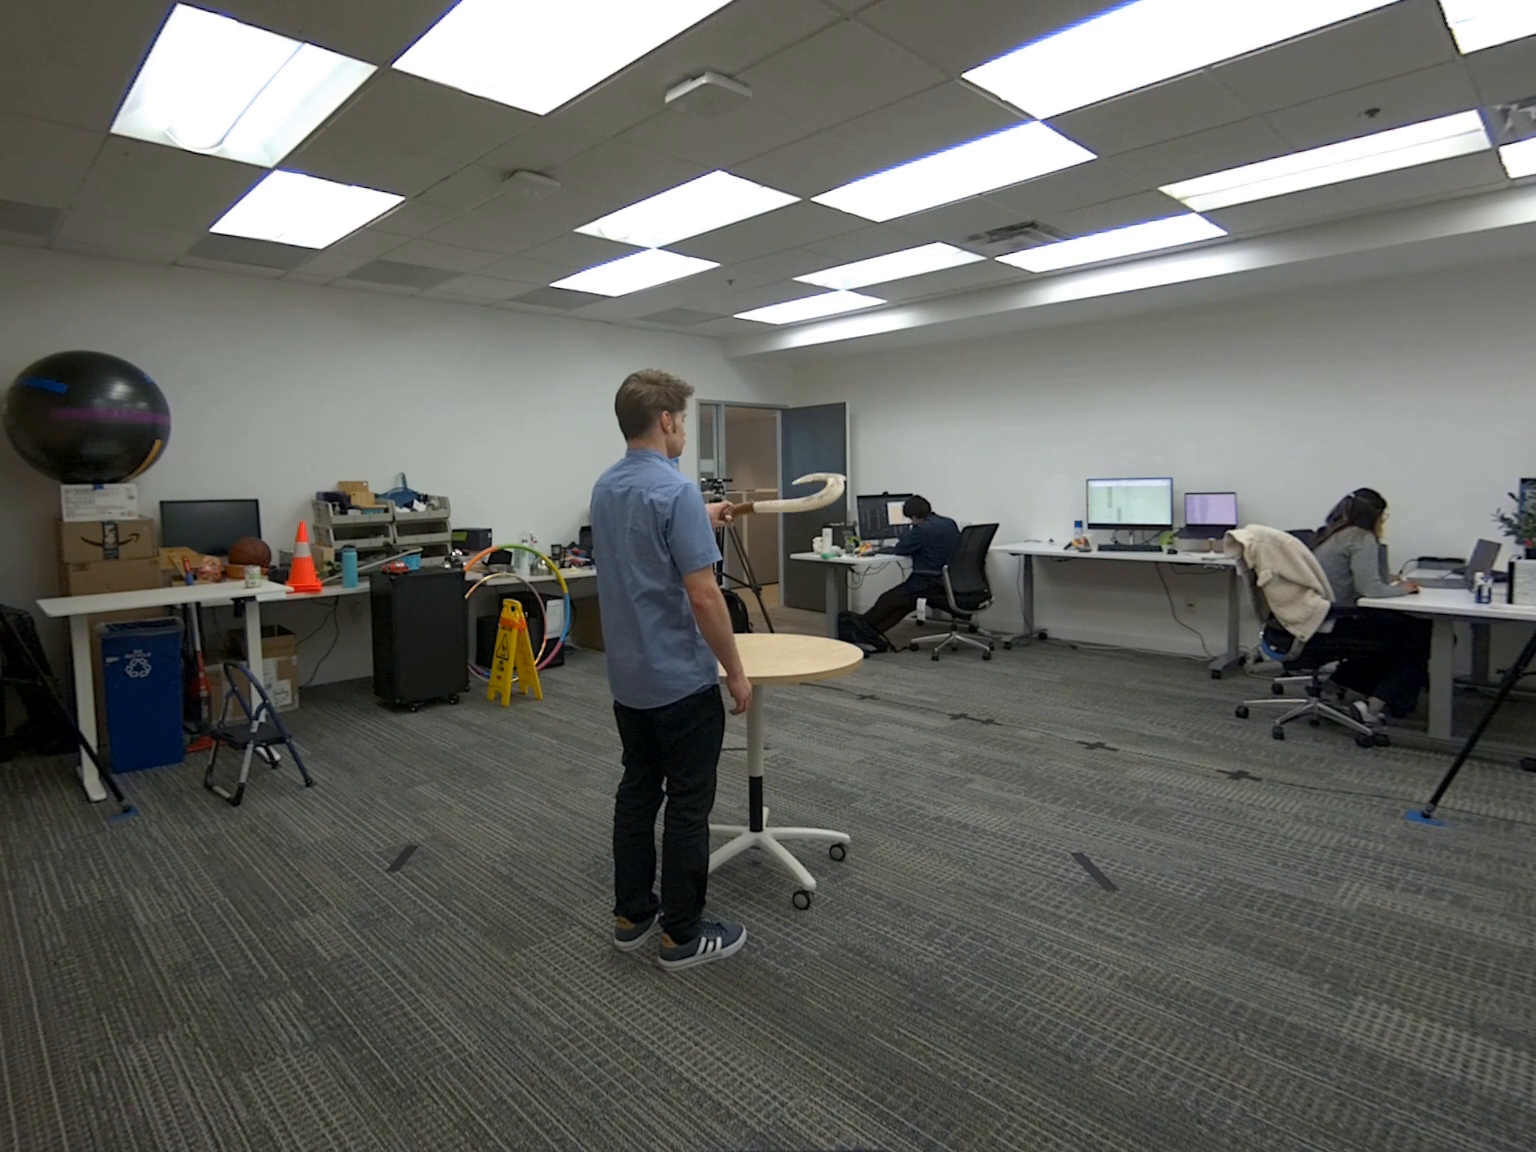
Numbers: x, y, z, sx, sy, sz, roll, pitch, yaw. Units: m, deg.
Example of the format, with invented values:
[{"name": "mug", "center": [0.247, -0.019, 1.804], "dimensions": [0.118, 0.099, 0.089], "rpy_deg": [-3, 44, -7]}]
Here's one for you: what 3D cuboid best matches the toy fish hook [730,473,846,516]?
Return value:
[{"name": "toy fish hook", "center": [0.010, -0.261, 2.907], "dimensions": [0.514, 0.047, 0.227], "rpy_deg": [-9, 28, 18]}]
